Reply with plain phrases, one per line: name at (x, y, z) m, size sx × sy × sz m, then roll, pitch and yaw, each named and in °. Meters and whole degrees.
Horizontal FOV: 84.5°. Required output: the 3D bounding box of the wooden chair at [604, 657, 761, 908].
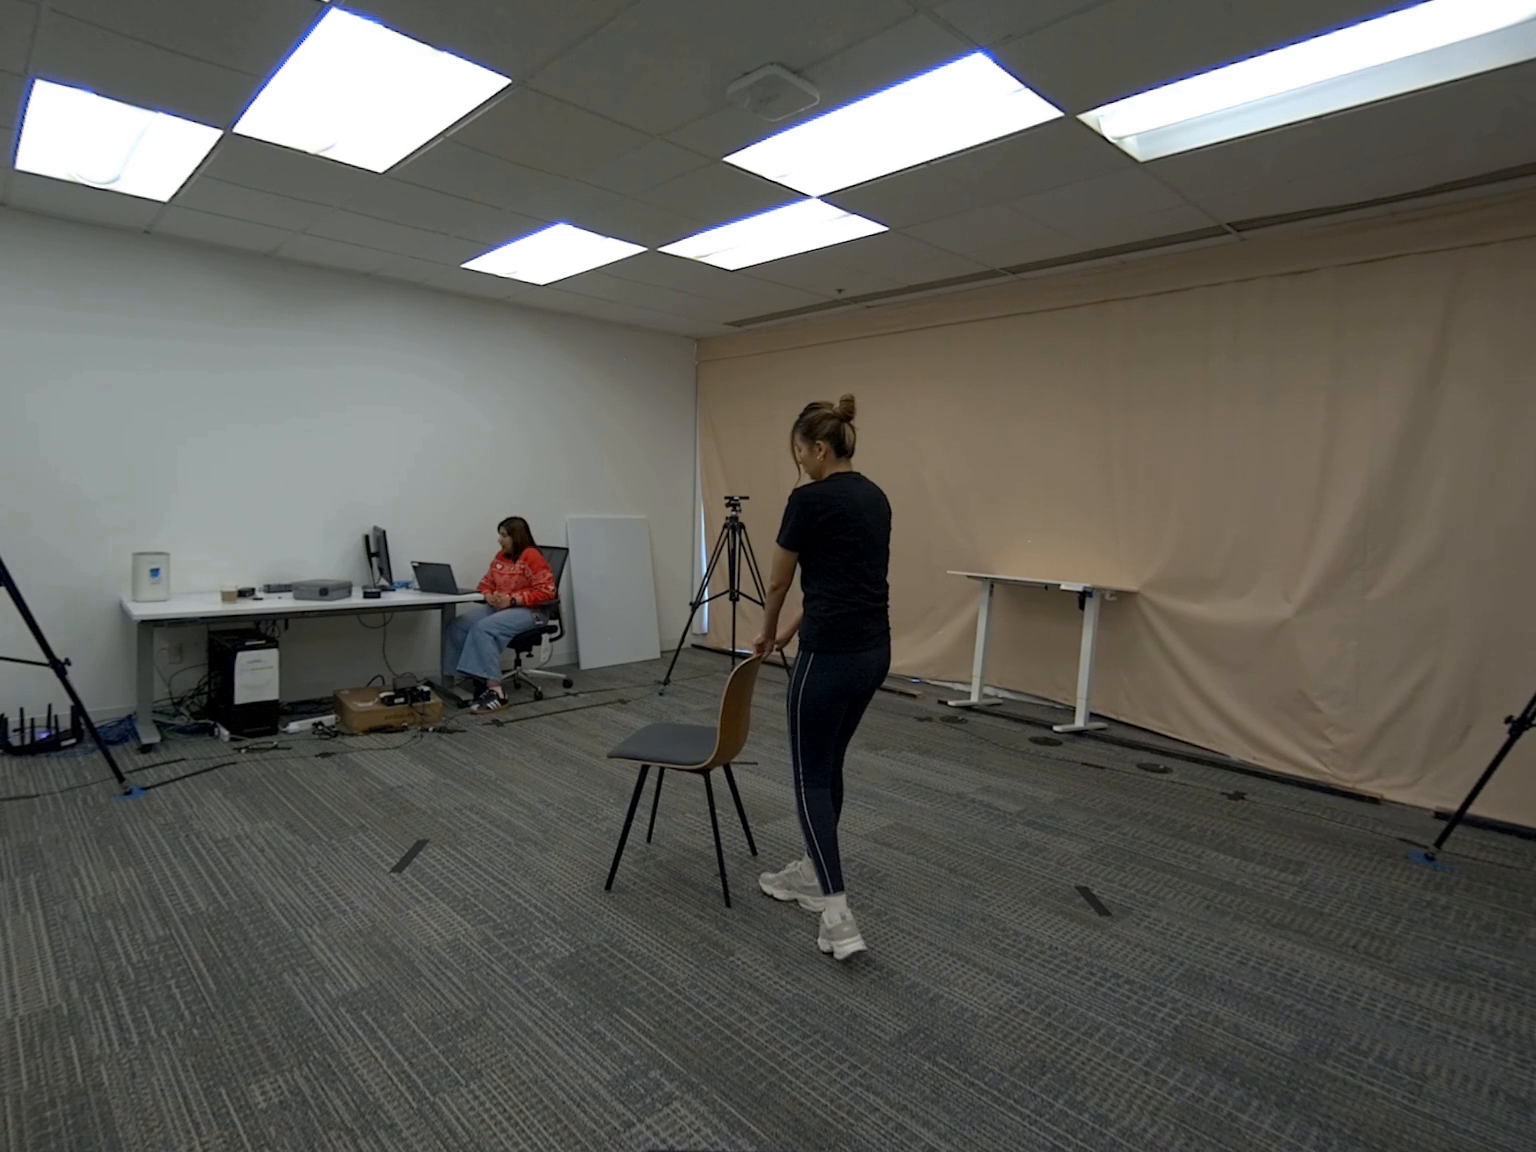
wooden chair at (-0.306, 0.672, 3.087) m, size 0.529 × 0.875 × 0.474 m, roll 7°, pitch 5°, yaw 12°
